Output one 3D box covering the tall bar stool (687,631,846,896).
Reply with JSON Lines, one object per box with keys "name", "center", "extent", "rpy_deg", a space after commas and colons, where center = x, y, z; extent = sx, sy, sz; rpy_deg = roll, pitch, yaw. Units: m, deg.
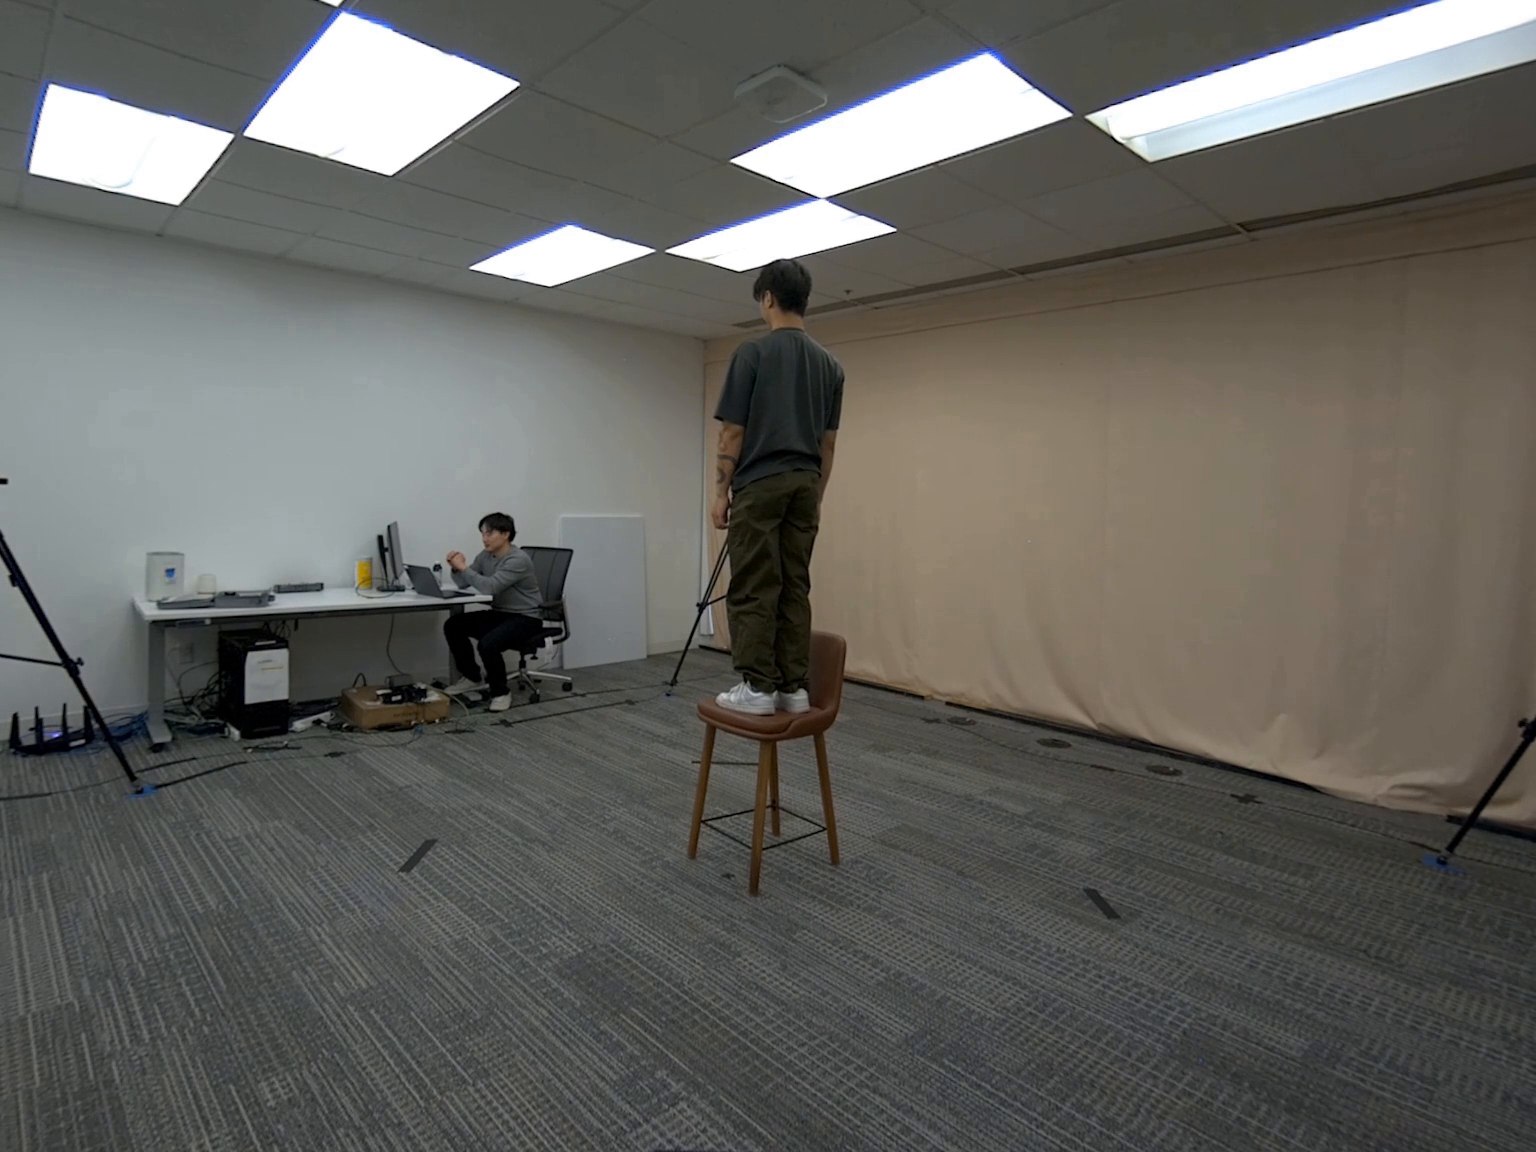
{"name": "tall bar stool", "center": [-0.003, 0.663, 3.220], "extent": [0.456, 0.888, 0.468], "rpy_deg": [1, 3, -39]}
